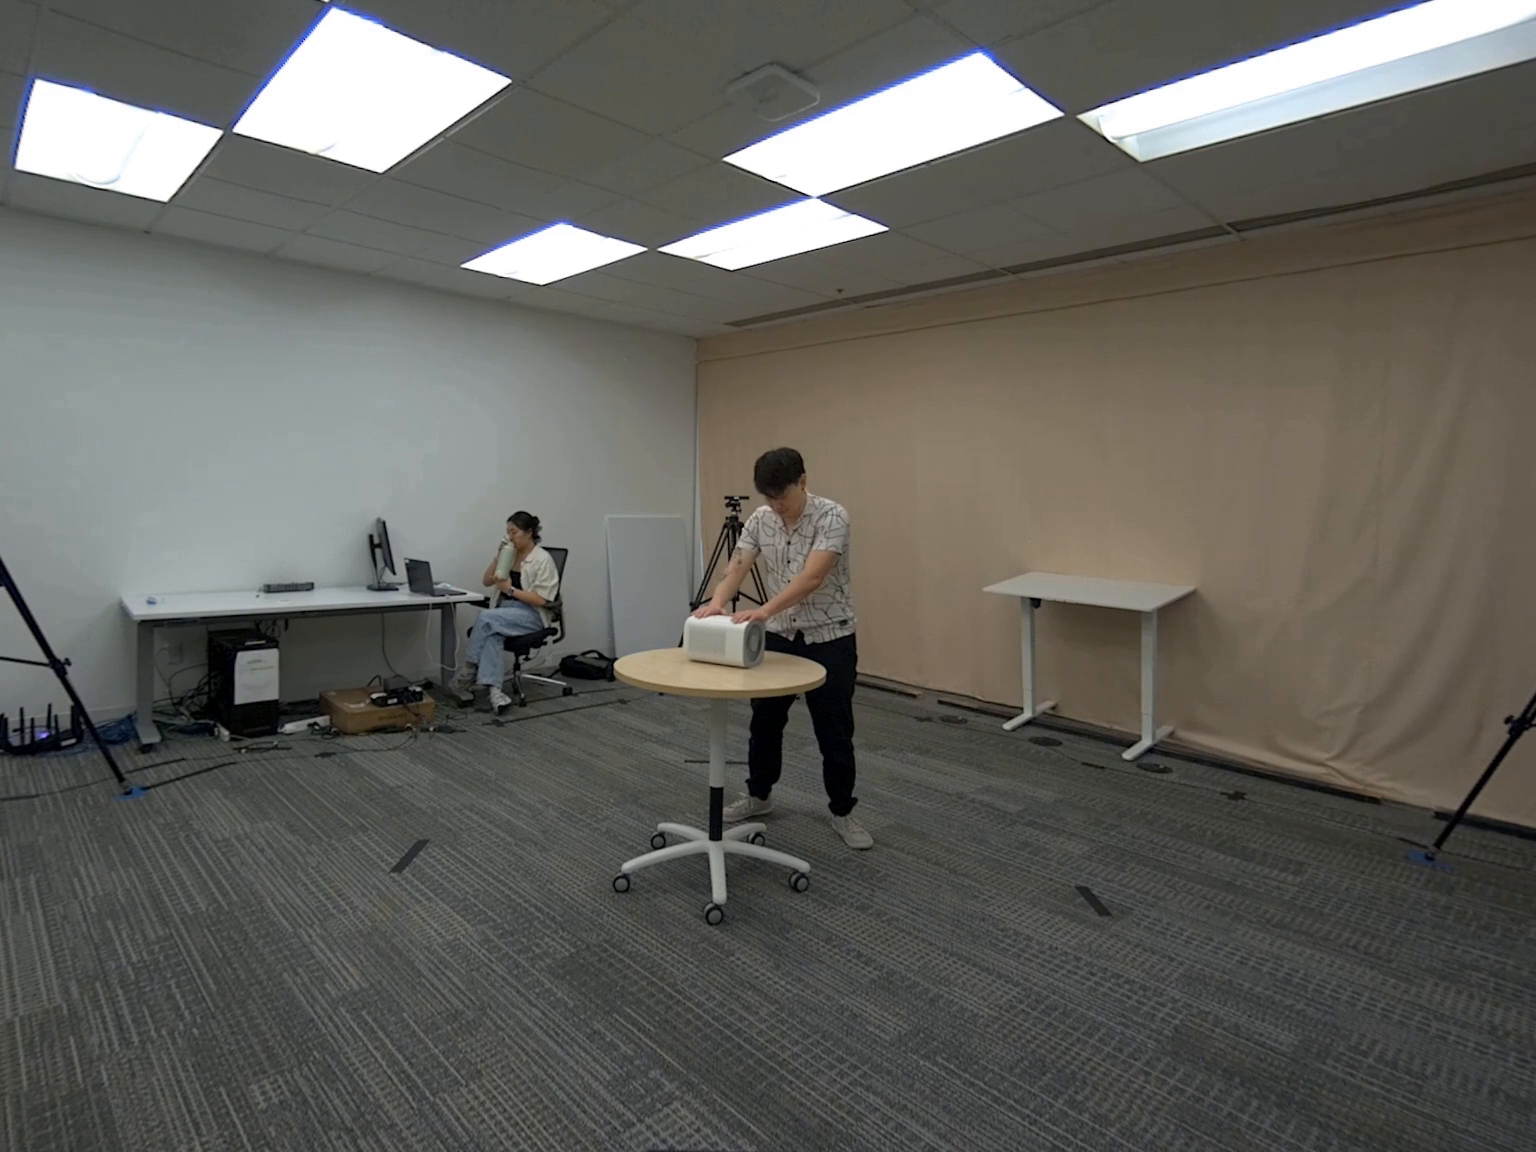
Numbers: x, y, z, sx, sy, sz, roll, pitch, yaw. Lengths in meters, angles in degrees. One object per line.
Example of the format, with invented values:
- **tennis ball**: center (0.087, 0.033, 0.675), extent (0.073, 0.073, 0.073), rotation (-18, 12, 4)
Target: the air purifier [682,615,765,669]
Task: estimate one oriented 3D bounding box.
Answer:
- **air purifier**: center (-0.174, 0.232, 3.115), extent (0.271, 0.171, 0.168), rotation (4, 5, 27)
